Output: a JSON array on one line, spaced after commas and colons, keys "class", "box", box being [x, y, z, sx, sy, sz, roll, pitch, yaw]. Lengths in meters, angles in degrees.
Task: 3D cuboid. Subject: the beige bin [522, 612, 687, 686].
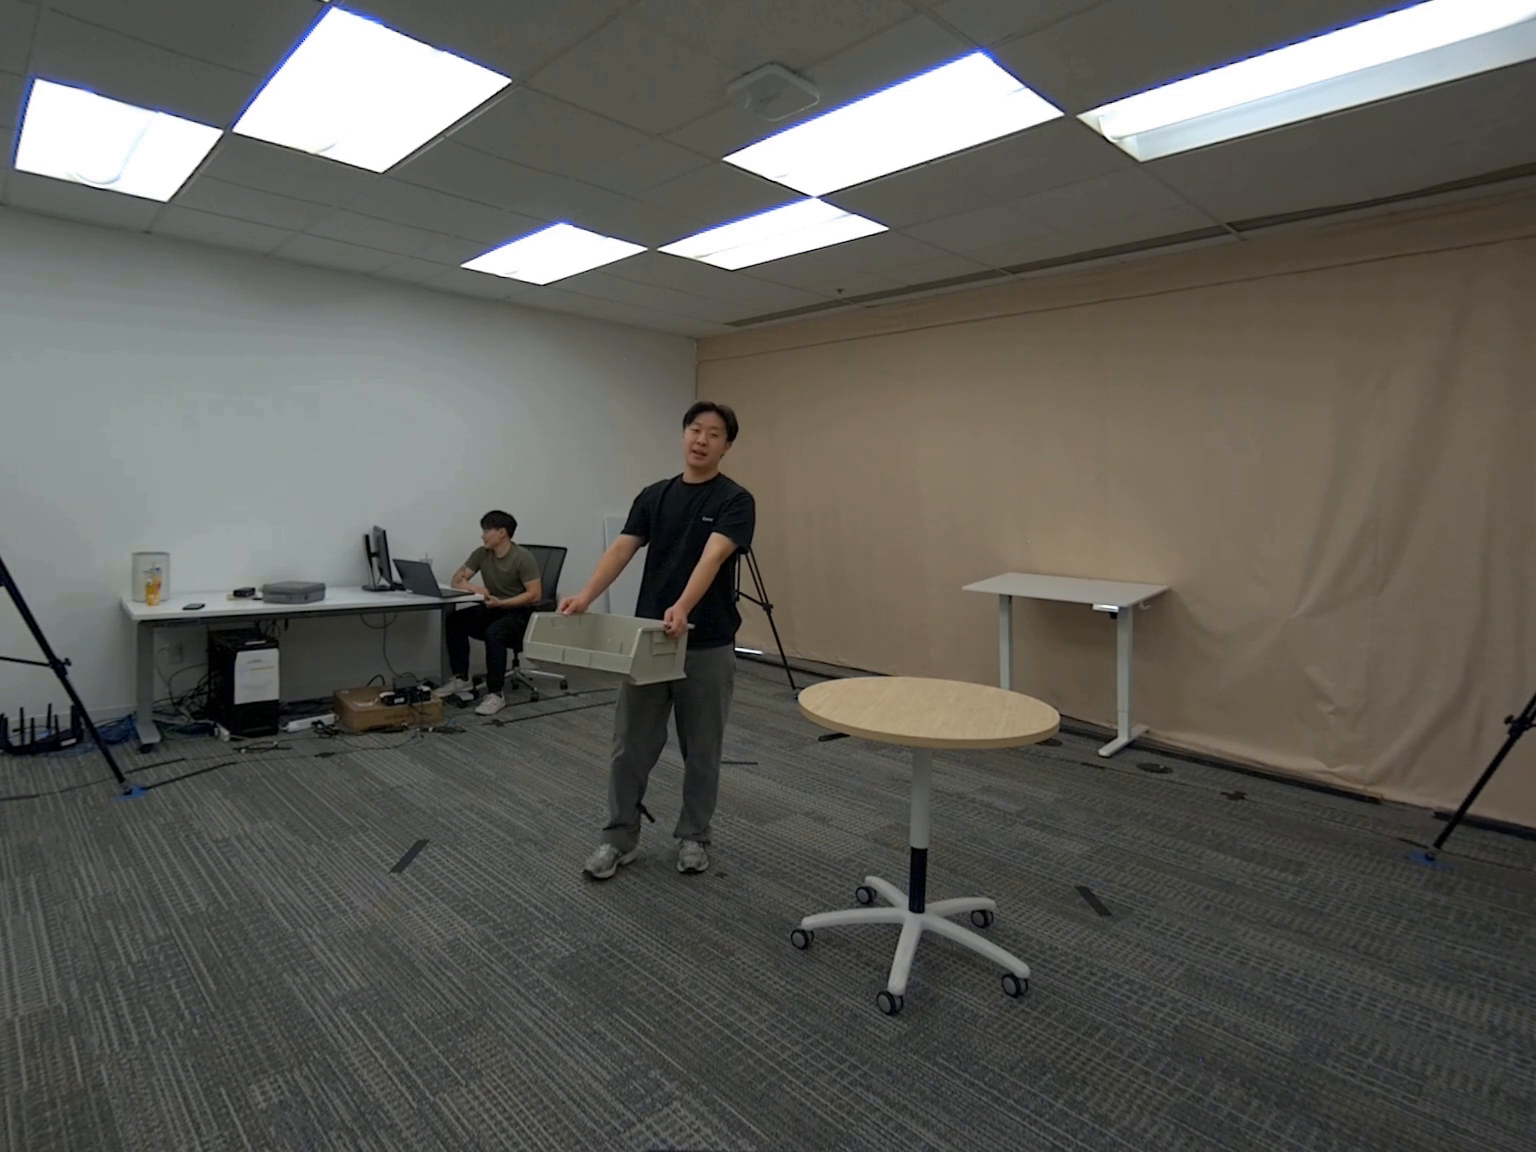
[{"class": "beige bin", "box": [-0.529, 0.233, 2.776, 0.431, 0.189, 0.369, 4, -2, 25]}]
